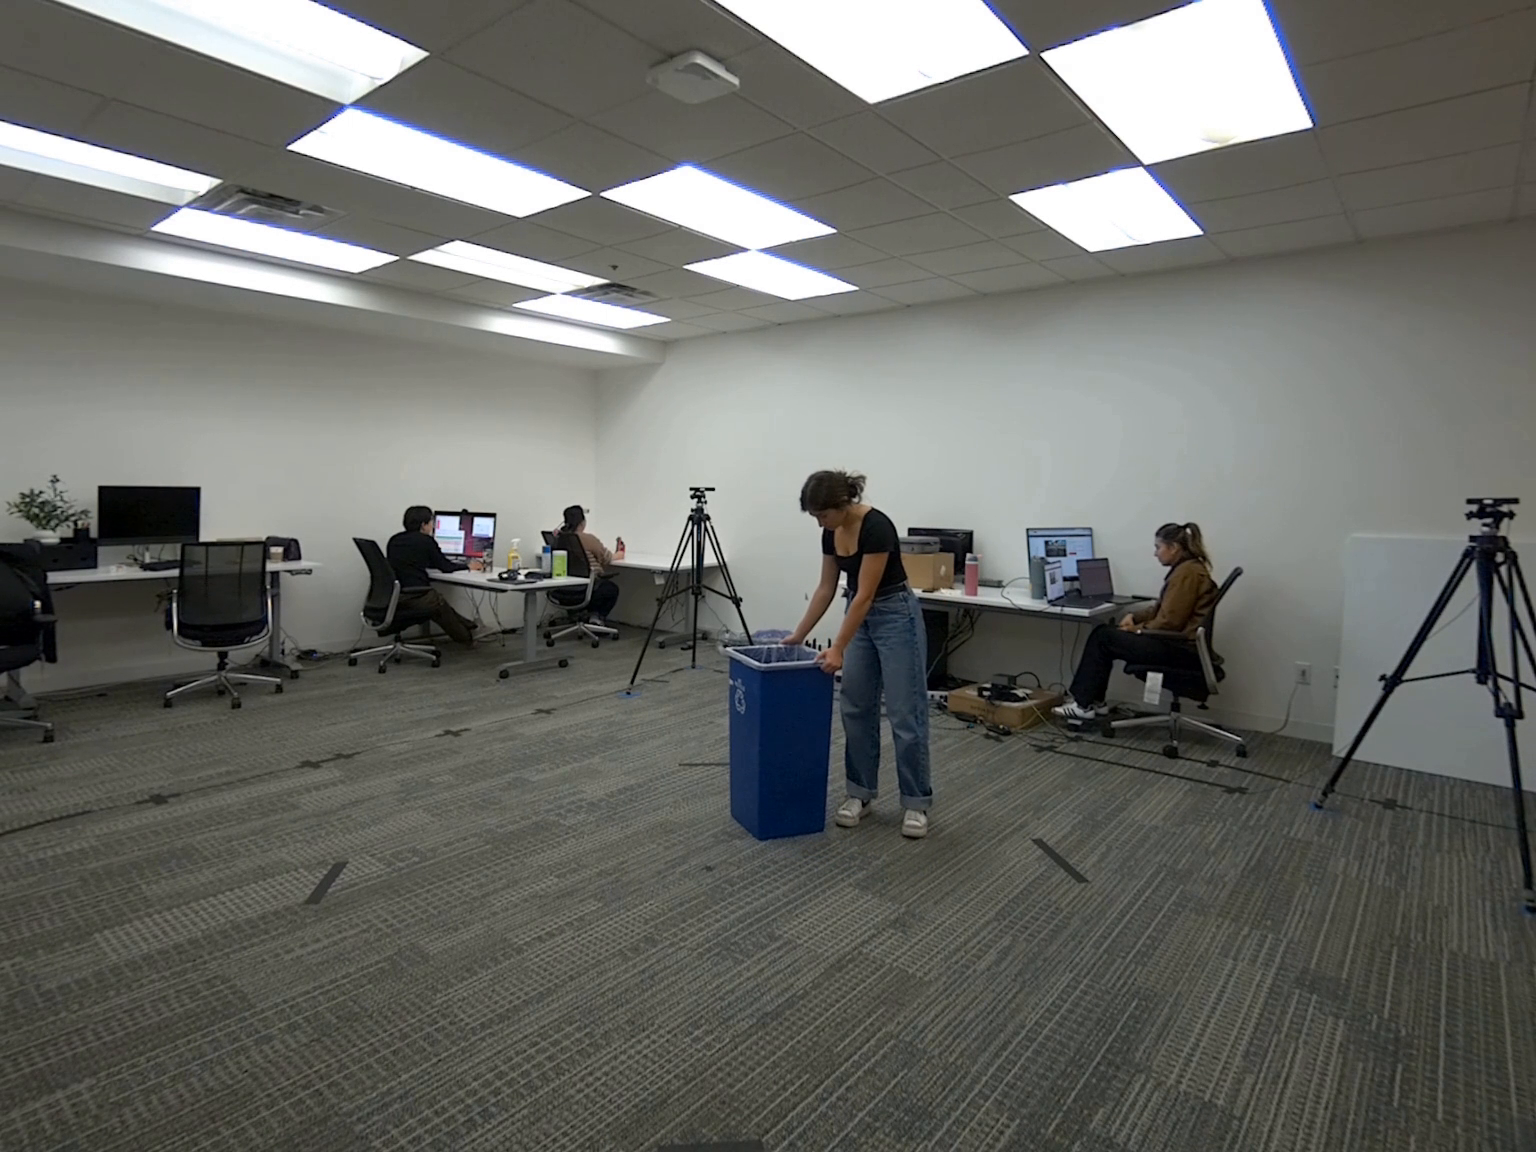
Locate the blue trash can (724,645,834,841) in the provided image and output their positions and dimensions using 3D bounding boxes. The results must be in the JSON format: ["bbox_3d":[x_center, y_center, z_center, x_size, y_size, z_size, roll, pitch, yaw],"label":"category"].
[{"bbox_3d":[0.043,0.670,3.529,0.369,0.712,0.384,0,3,-24],"label":"blue trash can"}]
